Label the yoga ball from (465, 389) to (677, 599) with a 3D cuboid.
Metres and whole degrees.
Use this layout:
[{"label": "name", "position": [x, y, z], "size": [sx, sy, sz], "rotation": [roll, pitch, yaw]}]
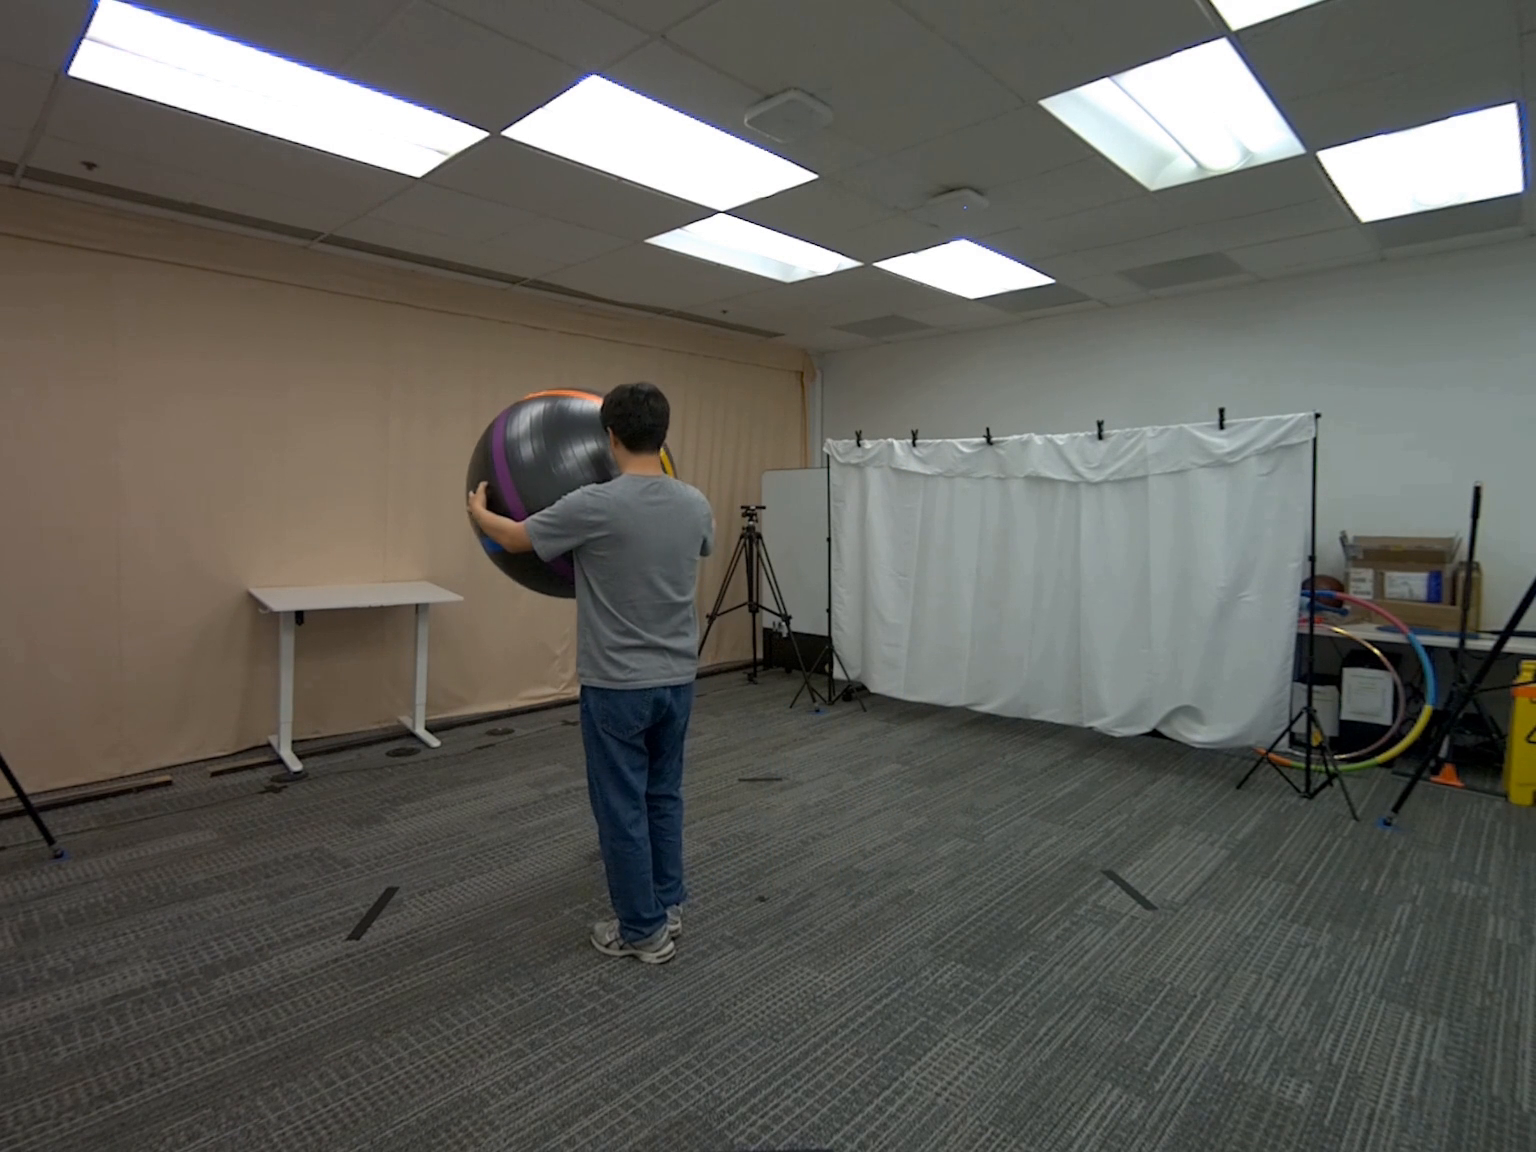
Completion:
[{"label": "yoga ball", "position": [-0.705, -0.292, 3.059], "size": [0.757, 0.756, 0.761], "rotation": [0, 4, -2]}]
